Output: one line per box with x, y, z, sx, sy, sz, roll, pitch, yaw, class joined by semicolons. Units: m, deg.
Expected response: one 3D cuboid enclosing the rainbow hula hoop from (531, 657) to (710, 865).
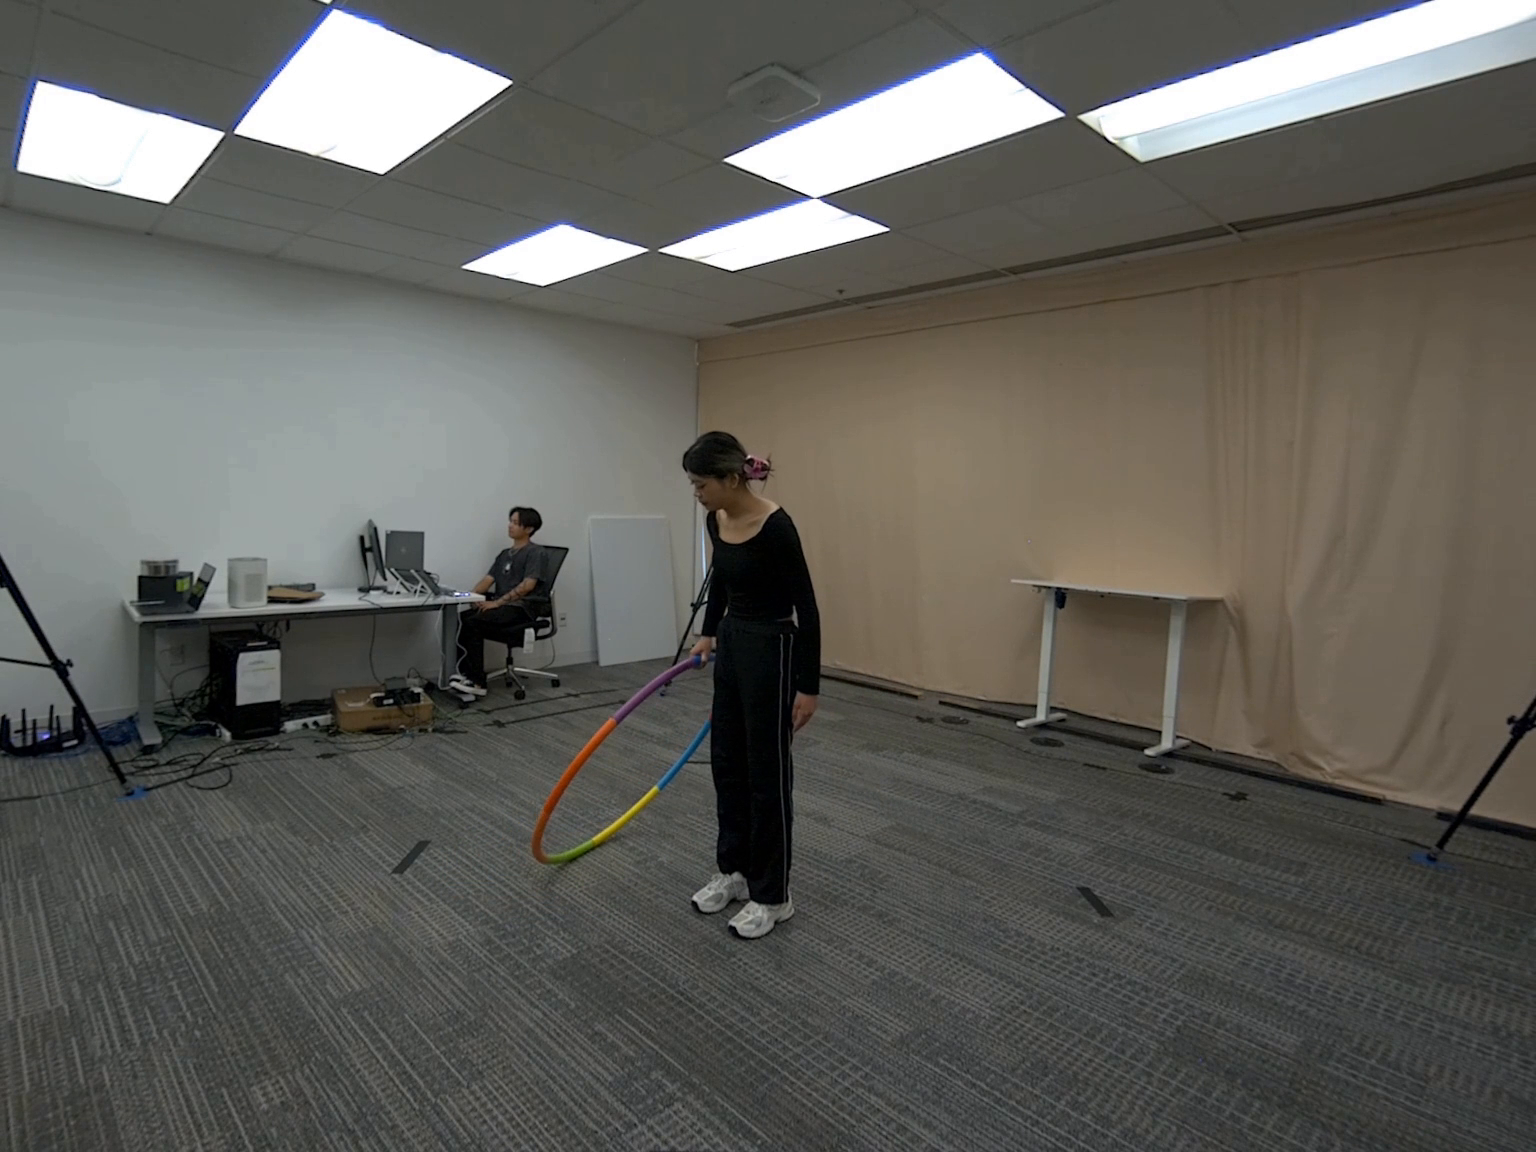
-0.482;0.676;3.129;0.036;0.975;0.961;40;20;19;rainbow hula hoop
